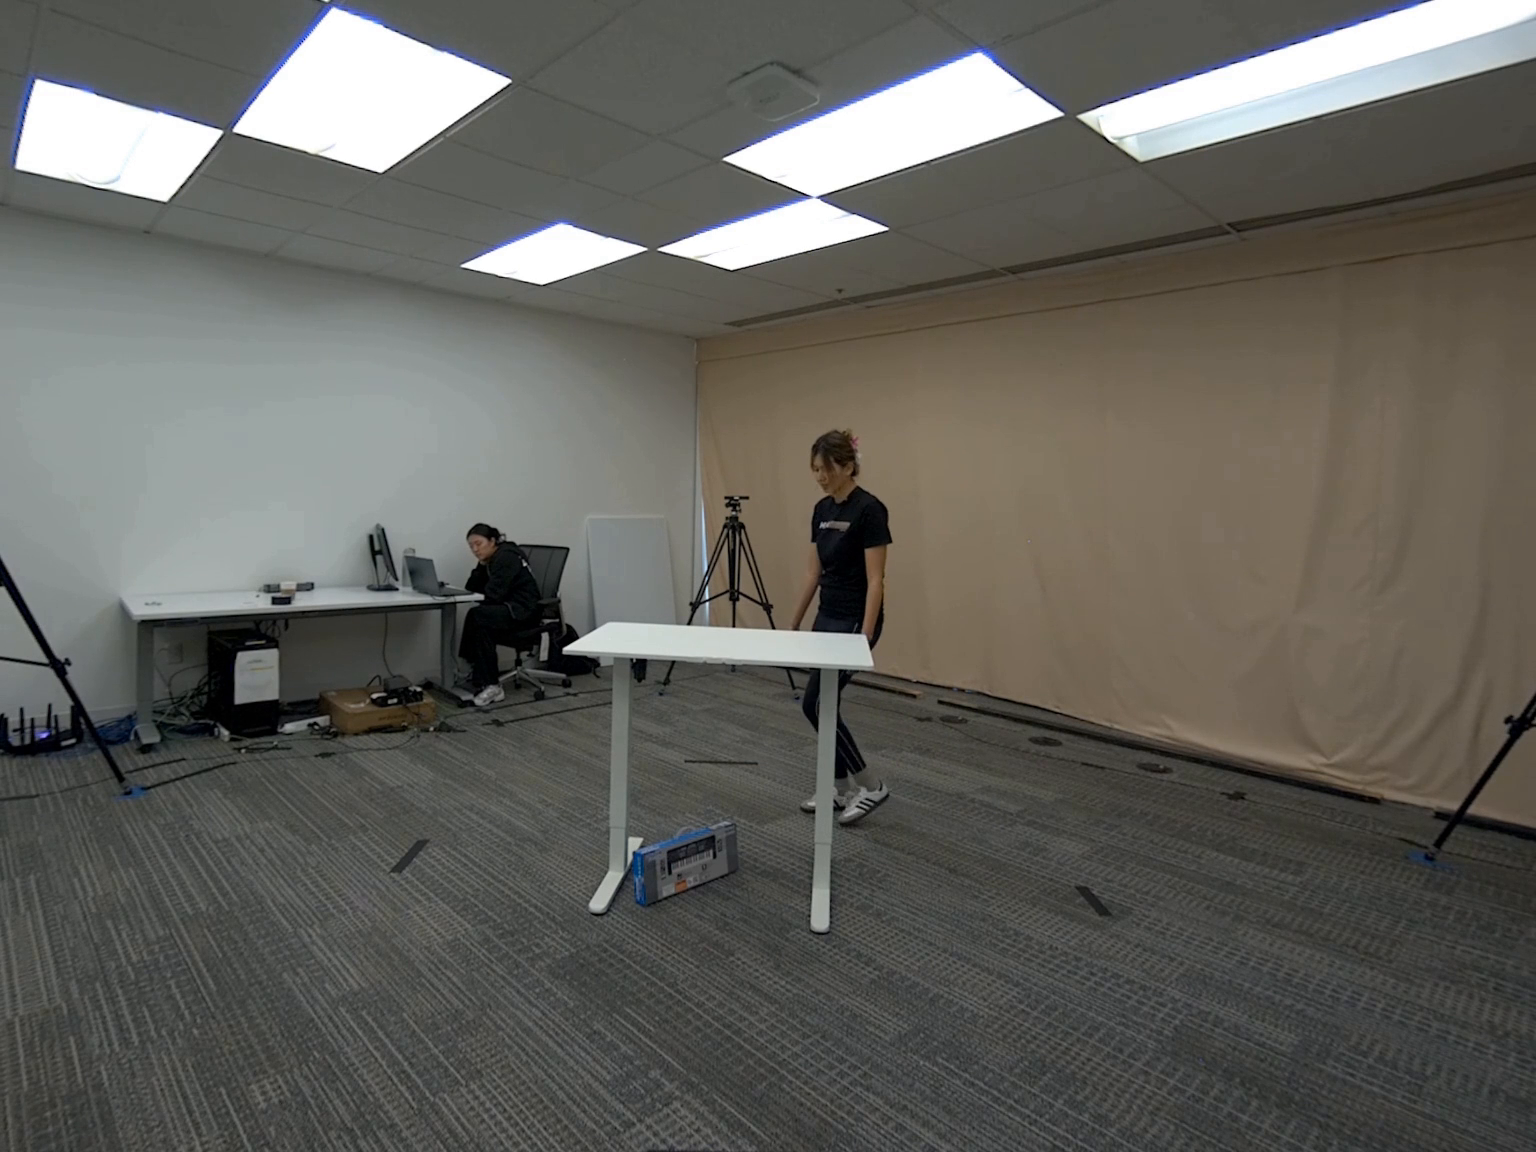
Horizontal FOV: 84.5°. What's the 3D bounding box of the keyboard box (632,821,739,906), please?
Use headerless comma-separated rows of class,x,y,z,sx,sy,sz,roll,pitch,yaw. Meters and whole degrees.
keyboard box,-0.292,1.022,3.011,0.427,0.176,0.060,-3,-2,-44
